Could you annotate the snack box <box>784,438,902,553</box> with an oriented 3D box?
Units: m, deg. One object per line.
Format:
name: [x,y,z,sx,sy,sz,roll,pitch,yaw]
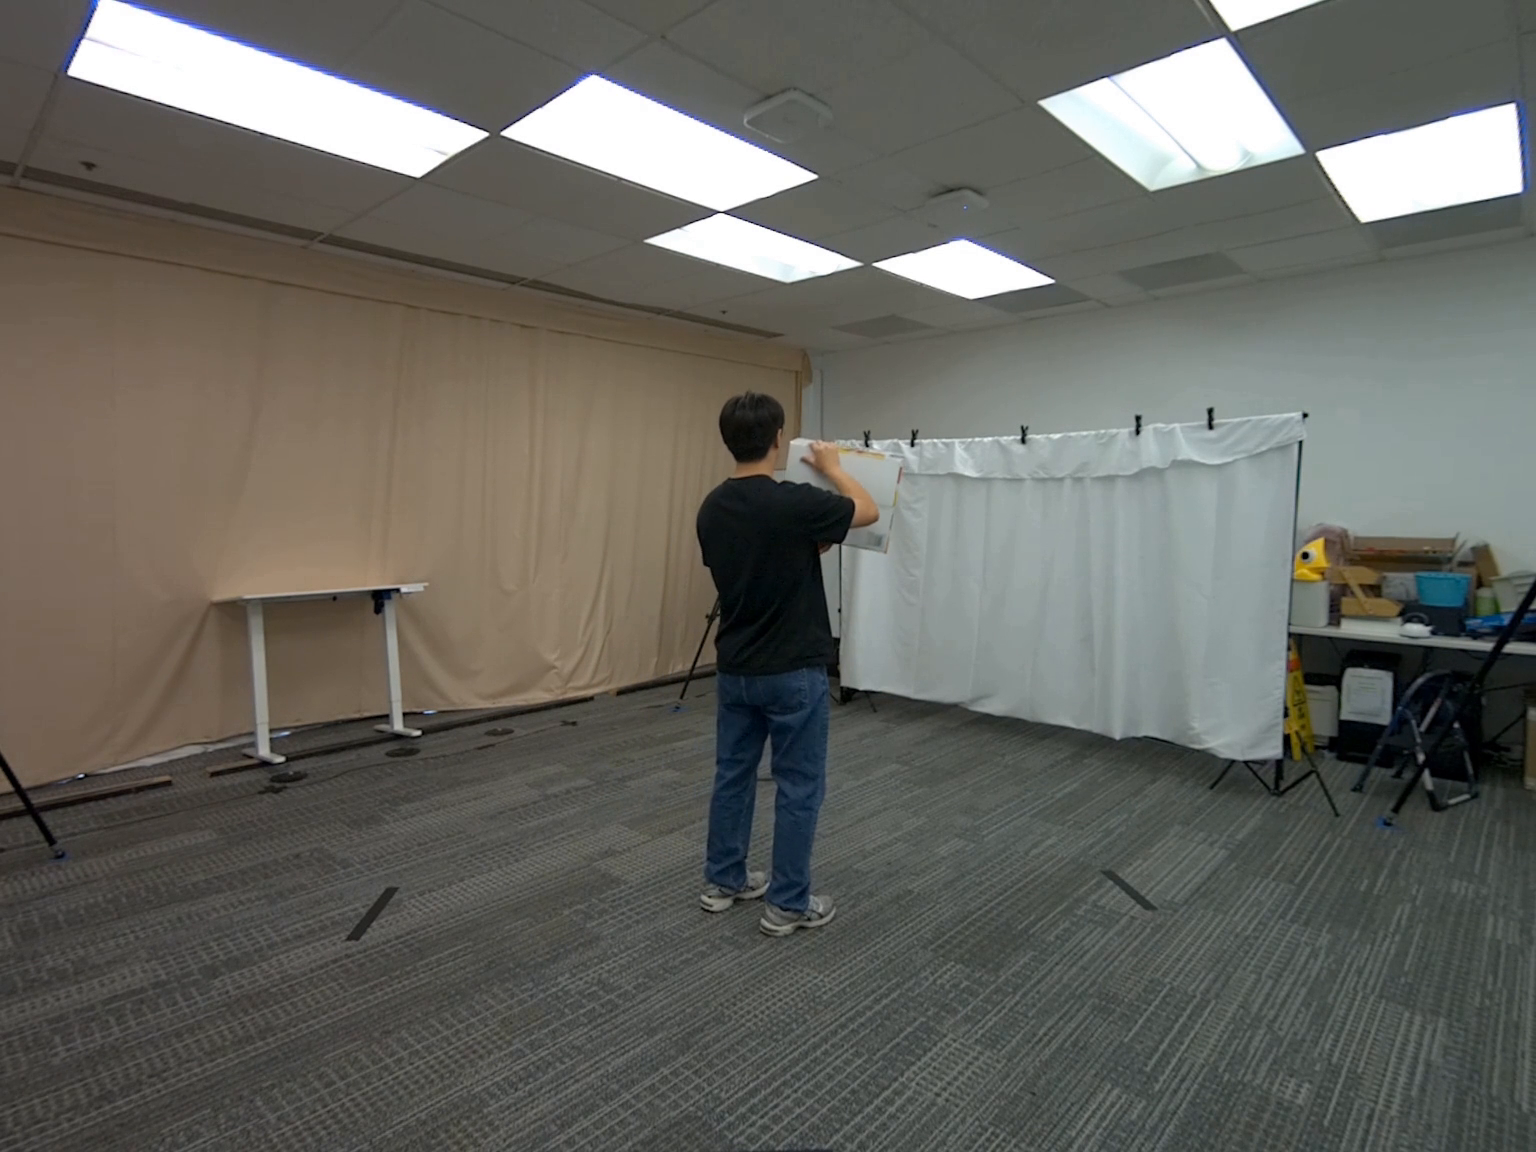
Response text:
snack box: [0.269,-0.297,3.093,0.410,0.338,0.204,12,13,10]
